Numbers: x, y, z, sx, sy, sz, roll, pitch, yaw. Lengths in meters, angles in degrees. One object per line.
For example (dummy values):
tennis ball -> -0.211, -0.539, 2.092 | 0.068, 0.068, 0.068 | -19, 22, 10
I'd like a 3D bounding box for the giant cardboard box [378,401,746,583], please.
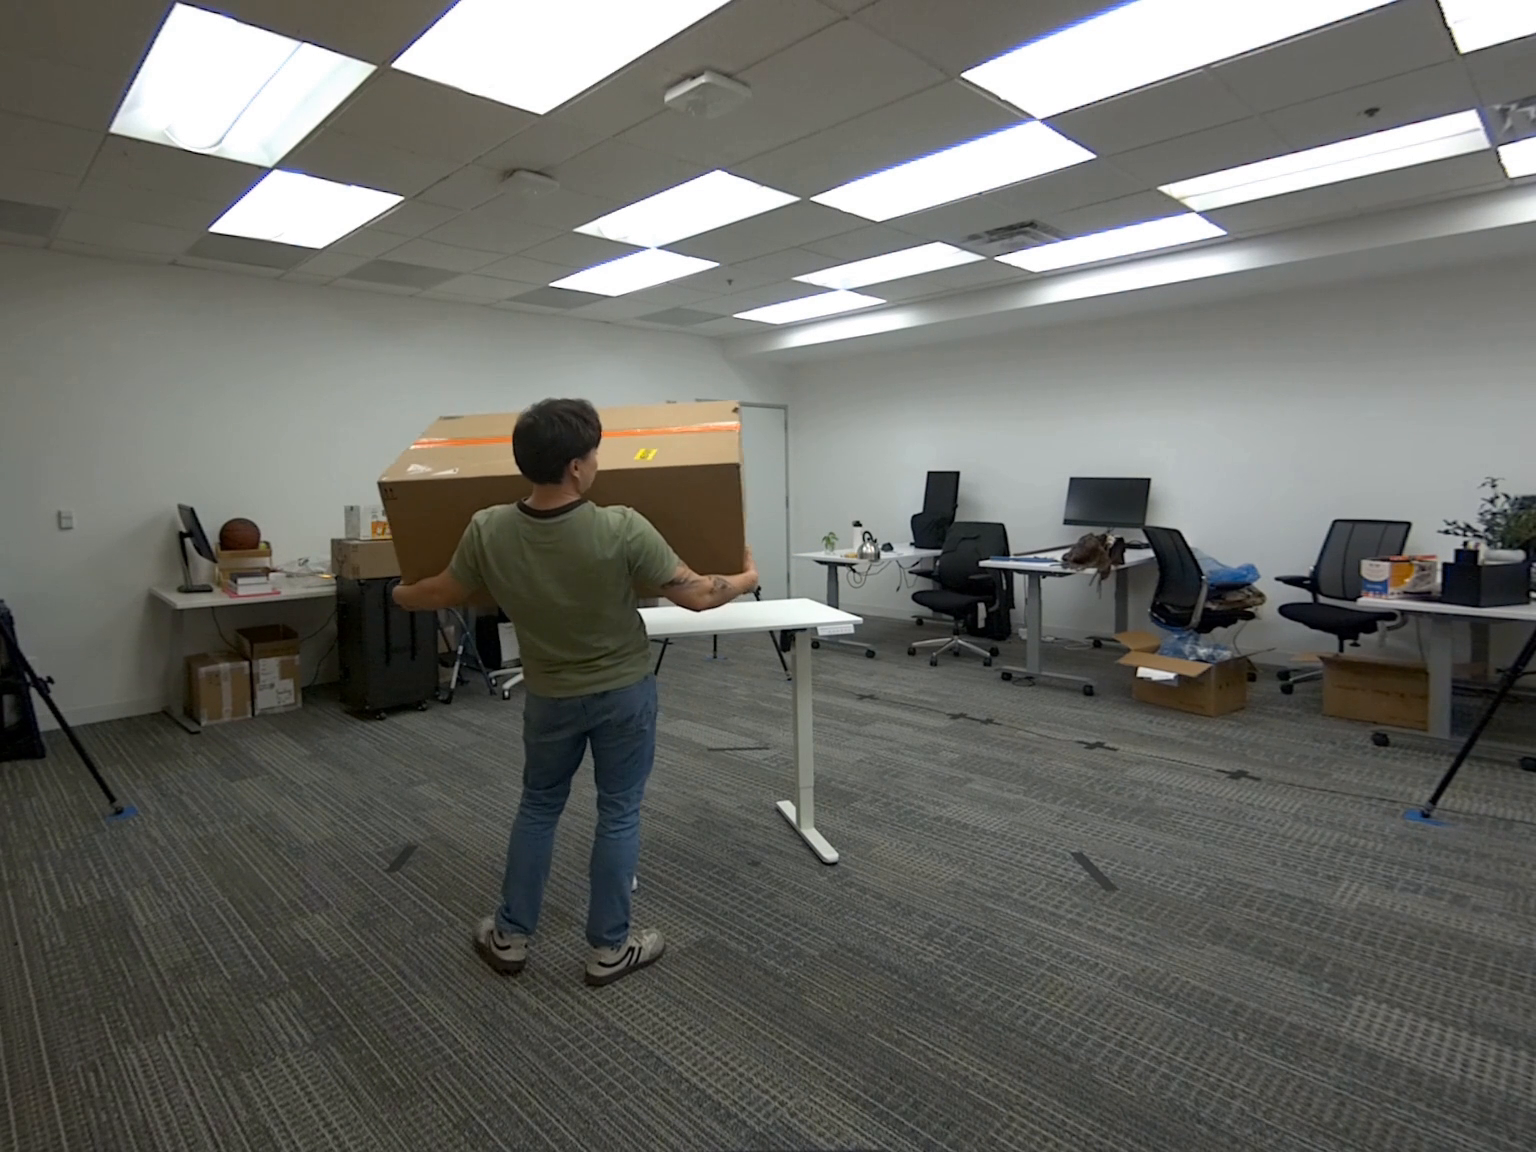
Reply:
giant cardboard box -> -0.592, -0.250, 2.707 | 1.029, 0.416, 0.590 | -3, 29, 3
